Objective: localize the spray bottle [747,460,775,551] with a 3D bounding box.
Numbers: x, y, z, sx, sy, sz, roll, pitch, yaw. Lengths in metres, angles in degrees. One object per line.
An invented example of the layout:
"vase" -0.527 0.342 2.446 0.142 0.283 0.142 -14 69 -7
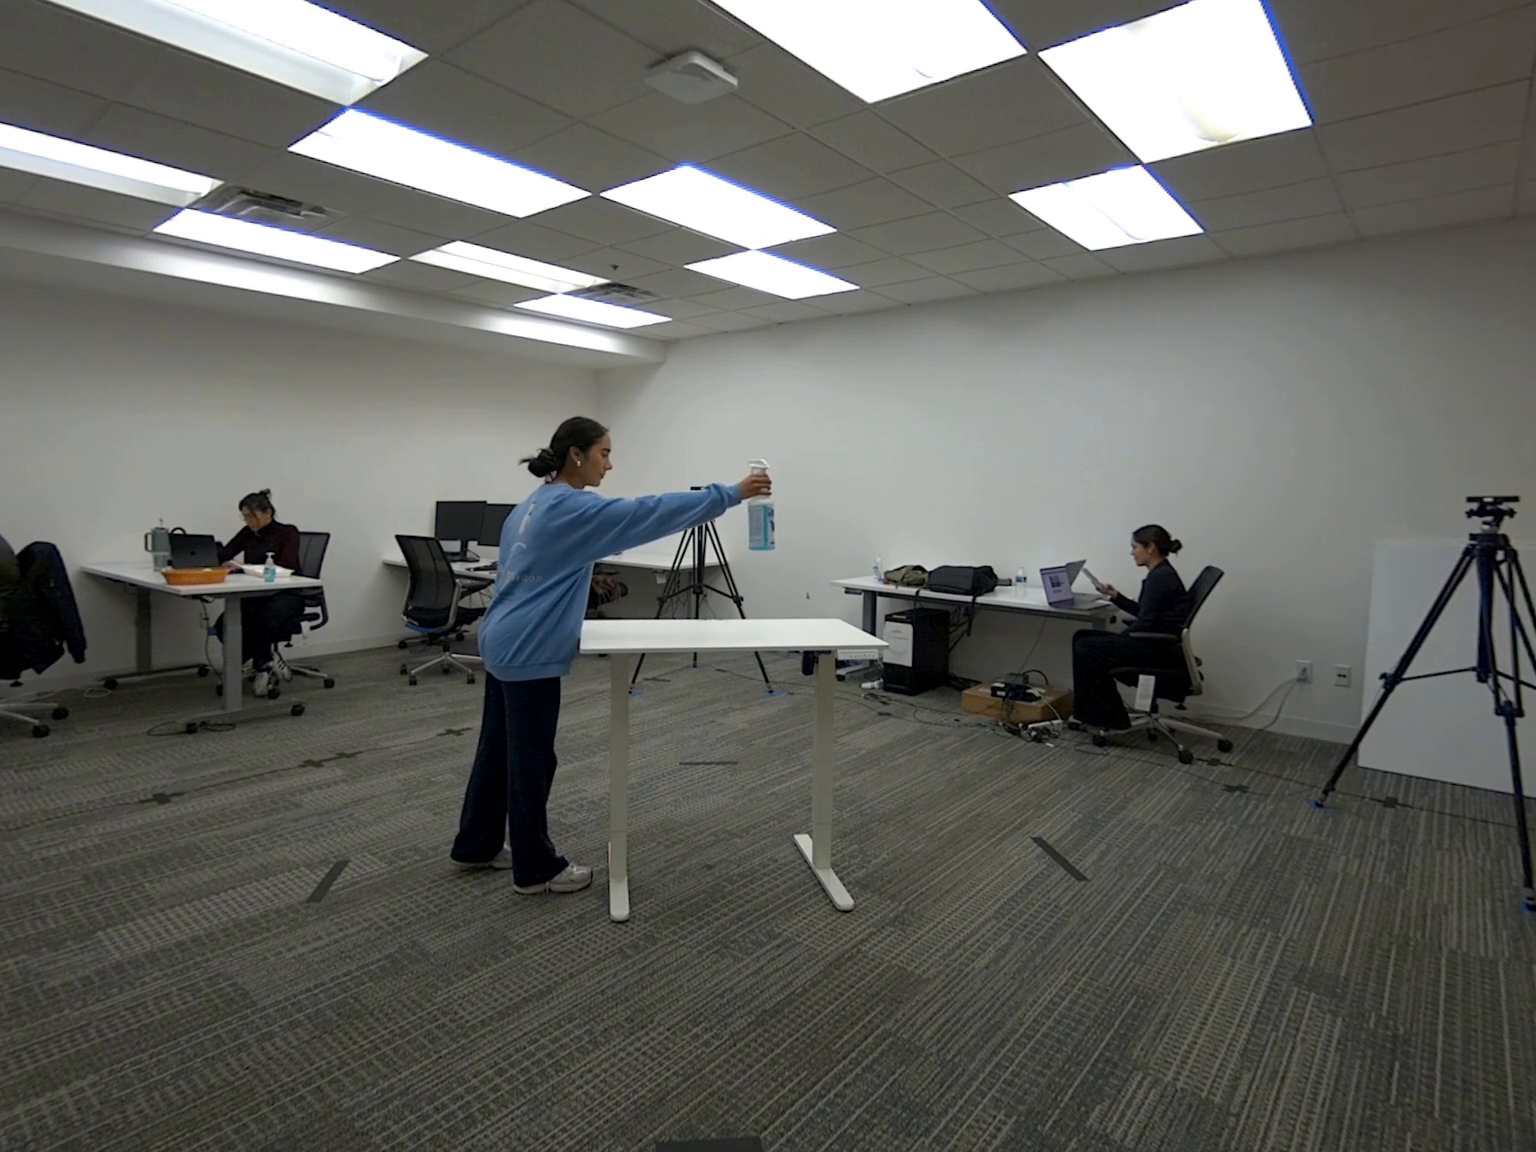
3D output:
"spray bottle" -0.037 -0.229 2.771 0.086 0.297 0.091 -2 2 -16
